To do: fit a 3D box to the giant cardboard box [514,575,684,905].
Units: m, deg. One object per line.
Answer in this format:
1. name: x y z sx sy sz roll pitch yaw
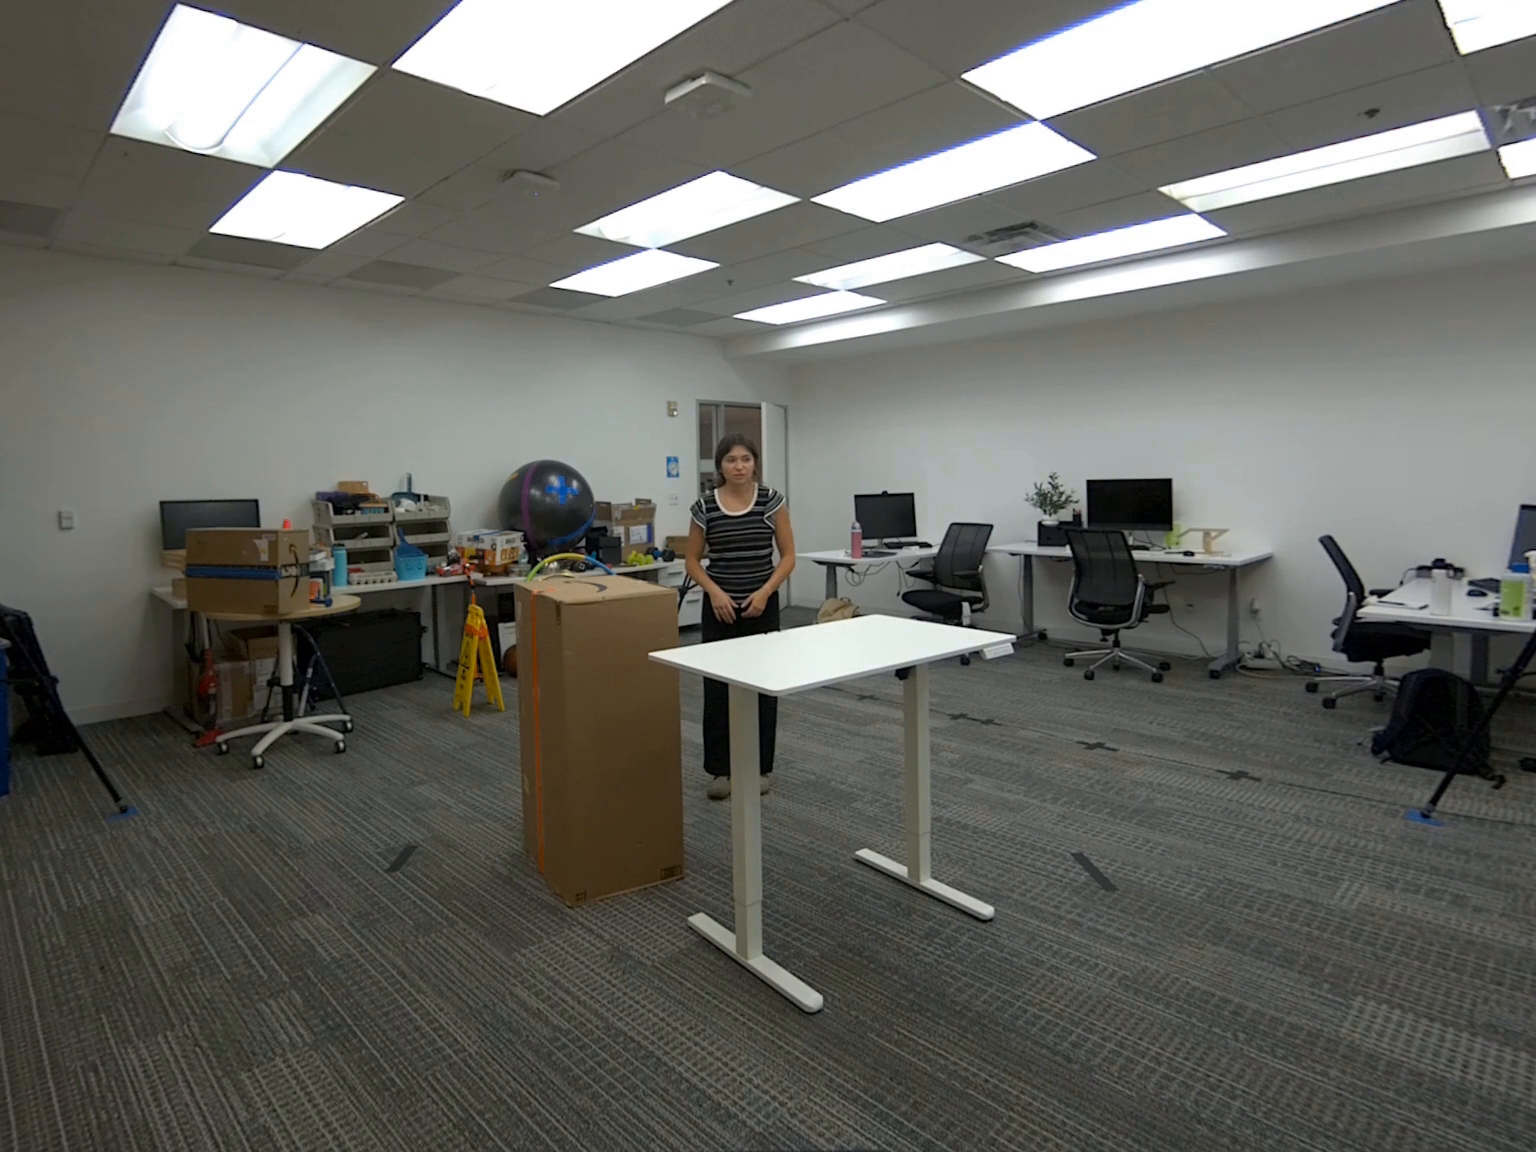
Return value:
1. giant cardboard box: -0.630 0.544 3.112 0.416 1.022 0.593 -4 5 -30
